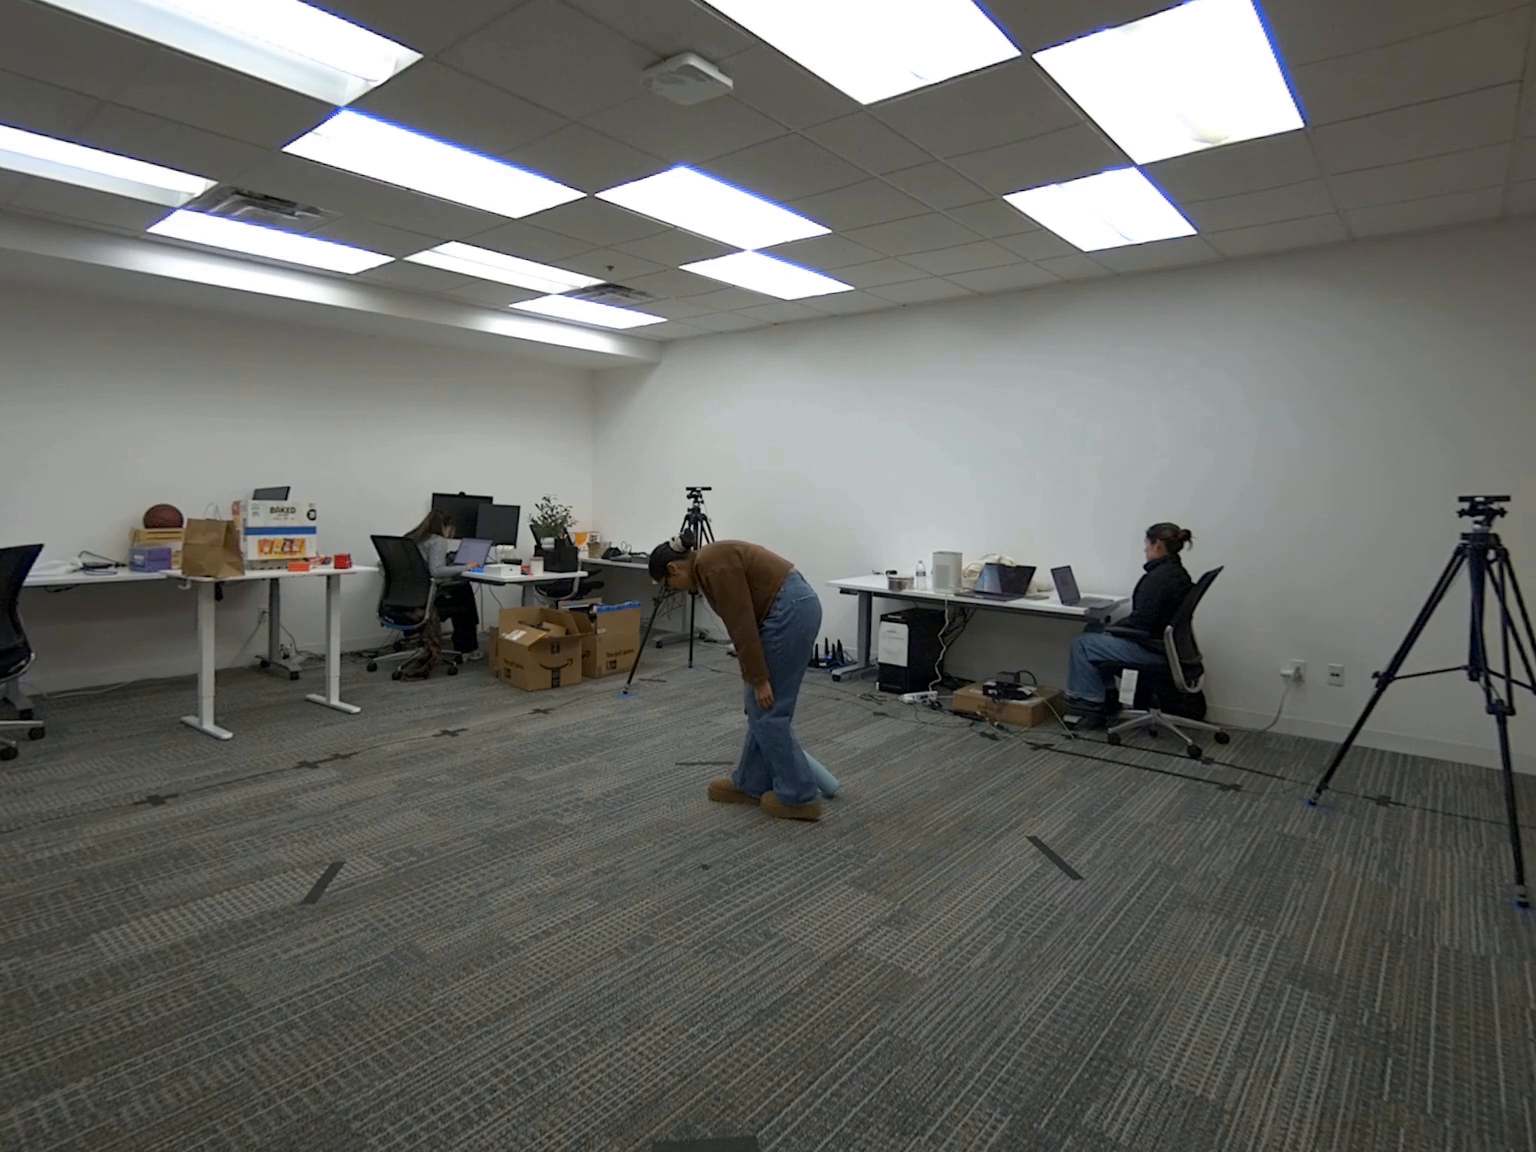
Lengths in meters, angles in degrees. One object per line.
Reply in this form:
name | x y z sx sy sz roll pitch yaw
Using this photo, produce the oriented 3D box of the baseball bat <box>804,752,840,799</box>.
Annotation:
baseball bat | 0.101 0.800 3.914 0.552 0.089 0.087 41 13 12
